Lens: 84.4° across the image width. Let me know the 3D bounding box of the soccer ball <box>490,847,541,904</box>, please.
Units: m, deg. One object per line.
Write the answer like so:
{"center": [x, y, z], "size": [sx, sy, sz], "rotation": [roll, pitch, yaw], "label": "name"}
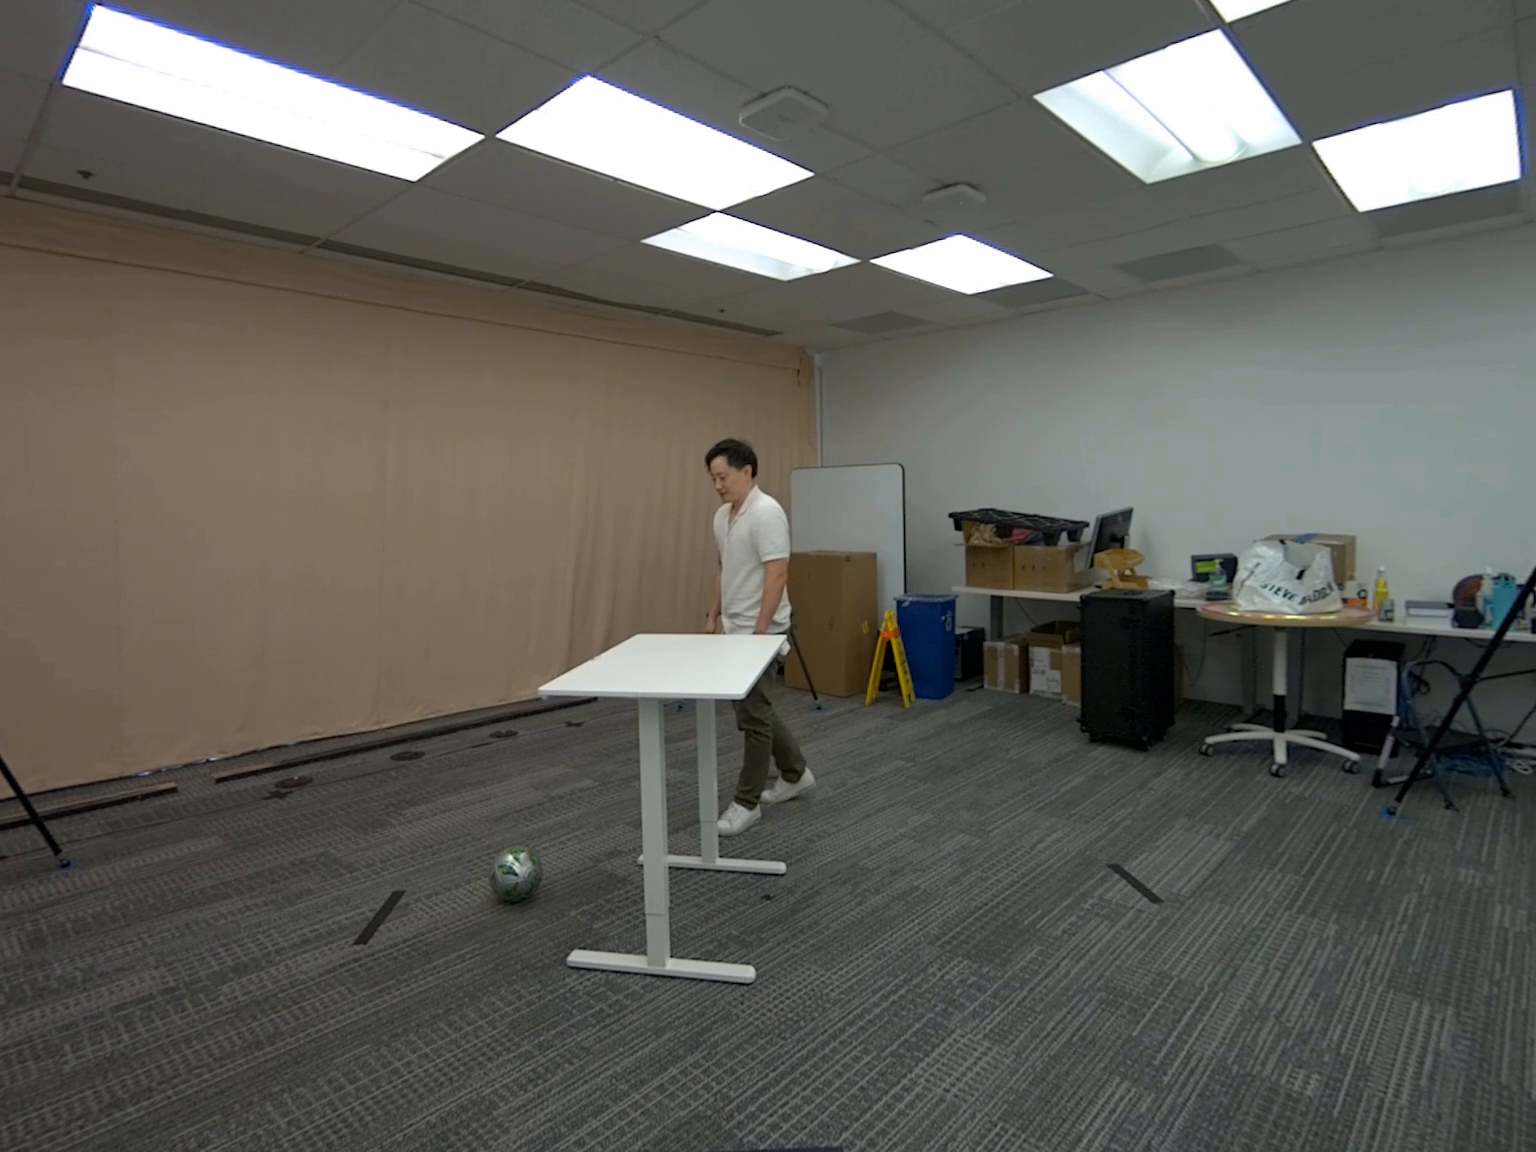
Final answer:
{"center": [-0.904, 1.066, 3.013], "size": [0.187, 0.187, 0.188], "rotation": [-1, 4, -2], "label": "soccer ball"}
